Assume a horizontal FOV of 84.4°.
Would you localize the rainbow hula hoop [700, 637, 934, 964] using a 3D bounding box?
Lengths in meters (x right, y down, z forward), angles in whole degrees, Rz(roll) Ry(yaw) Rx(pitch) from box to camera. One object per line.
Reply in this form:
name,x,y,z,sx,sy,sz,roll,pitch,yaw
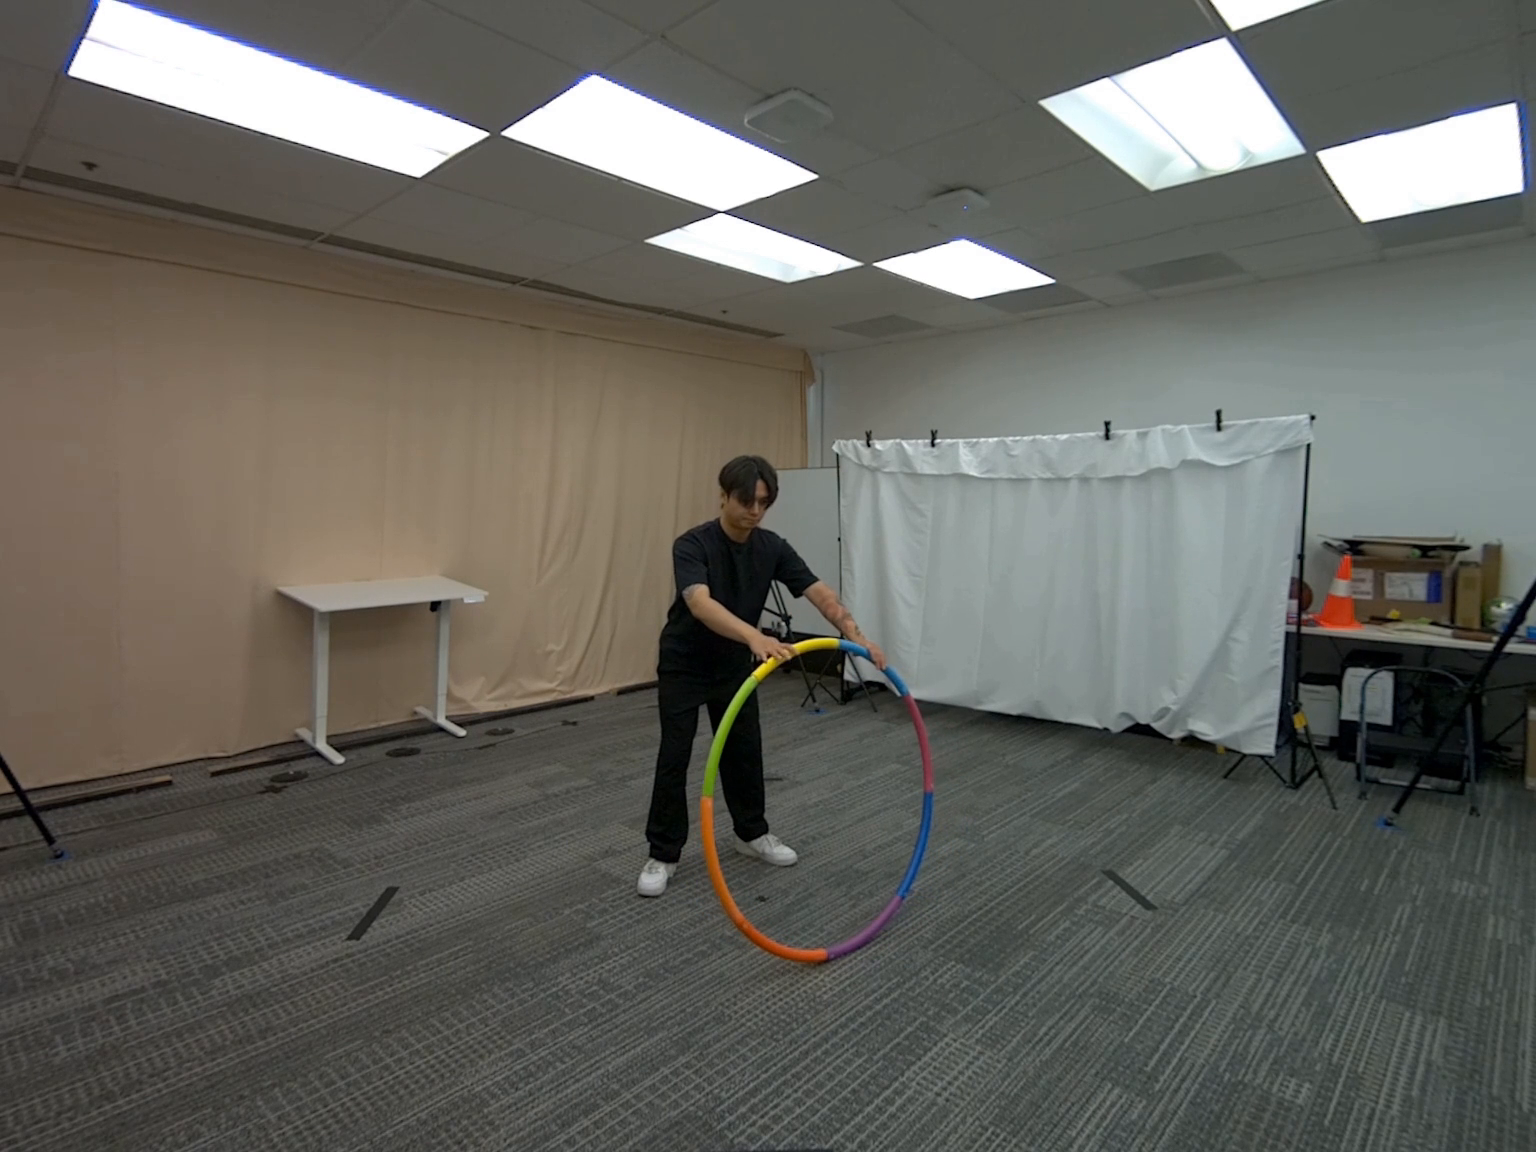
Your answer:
rainbow hula hoop,0.205,0.694,2.650,0.949,0.981,0.036,-3,-4,-39
